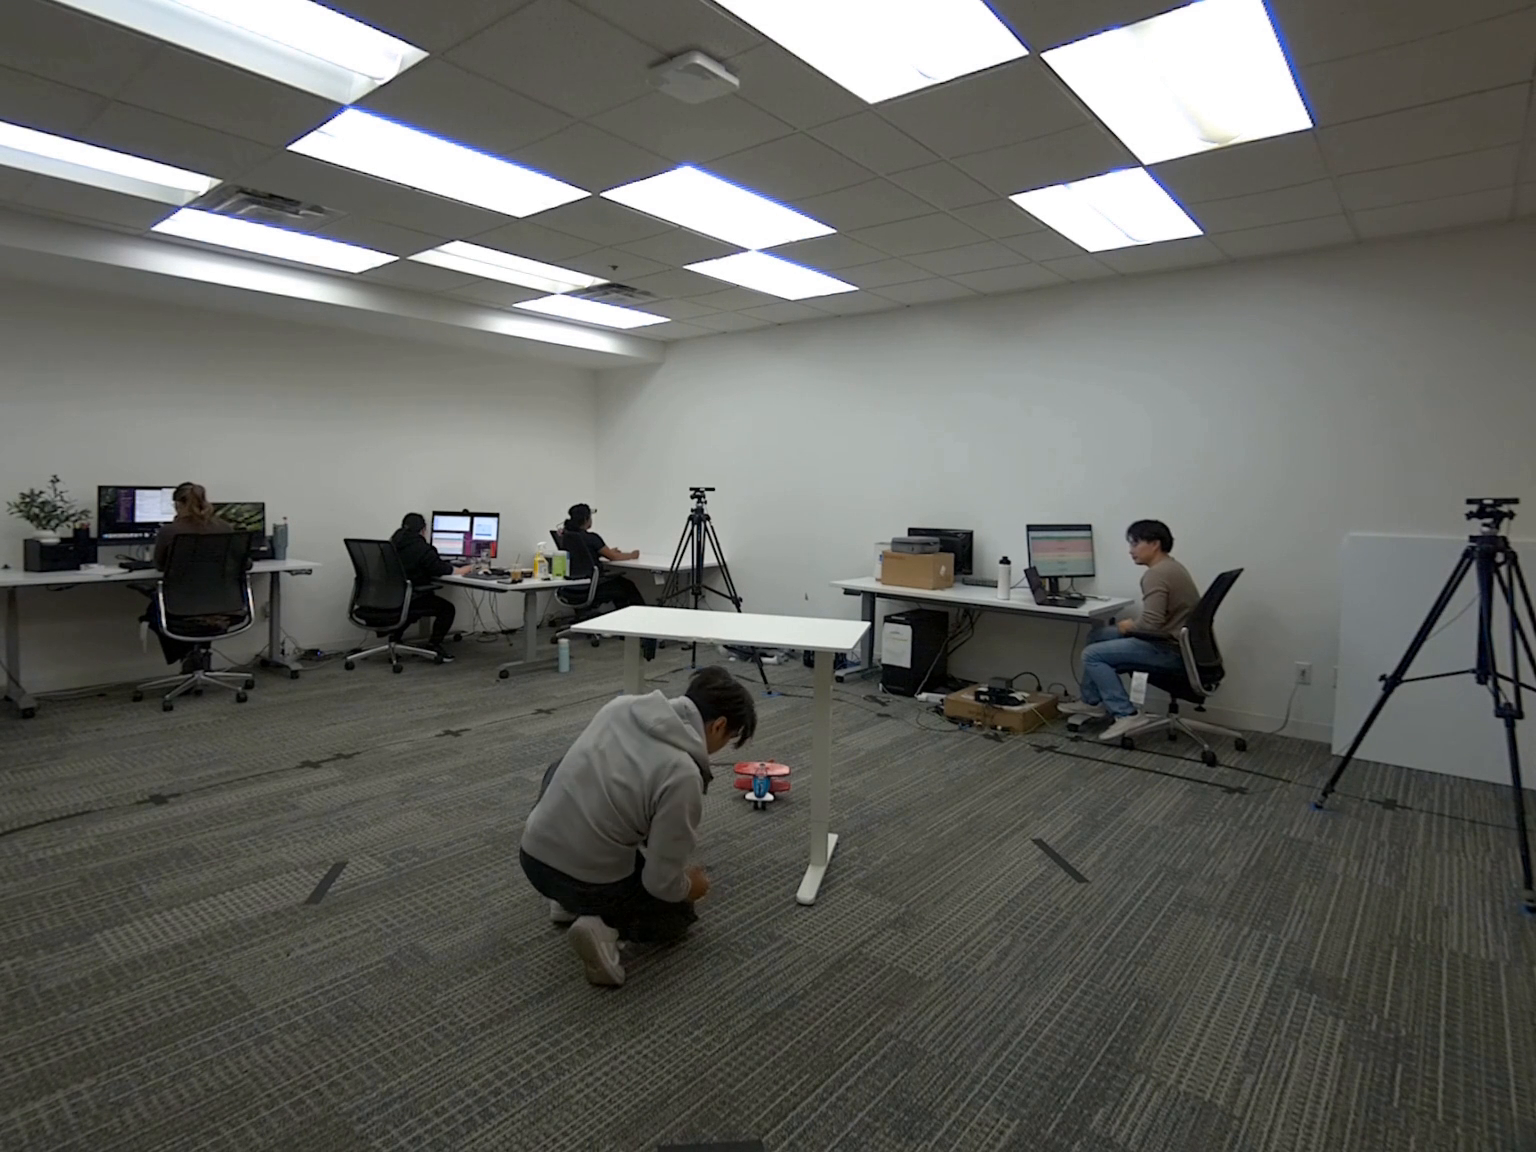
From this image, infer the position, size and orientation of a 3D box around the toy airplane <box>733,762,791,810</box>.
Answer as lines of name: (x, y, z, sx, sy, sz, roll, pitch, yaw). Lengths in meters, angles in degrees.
toy airplane: (-0.021, 0.931, 3.800, 0.245, 0.156, 0.266, -1, 4, -23)
